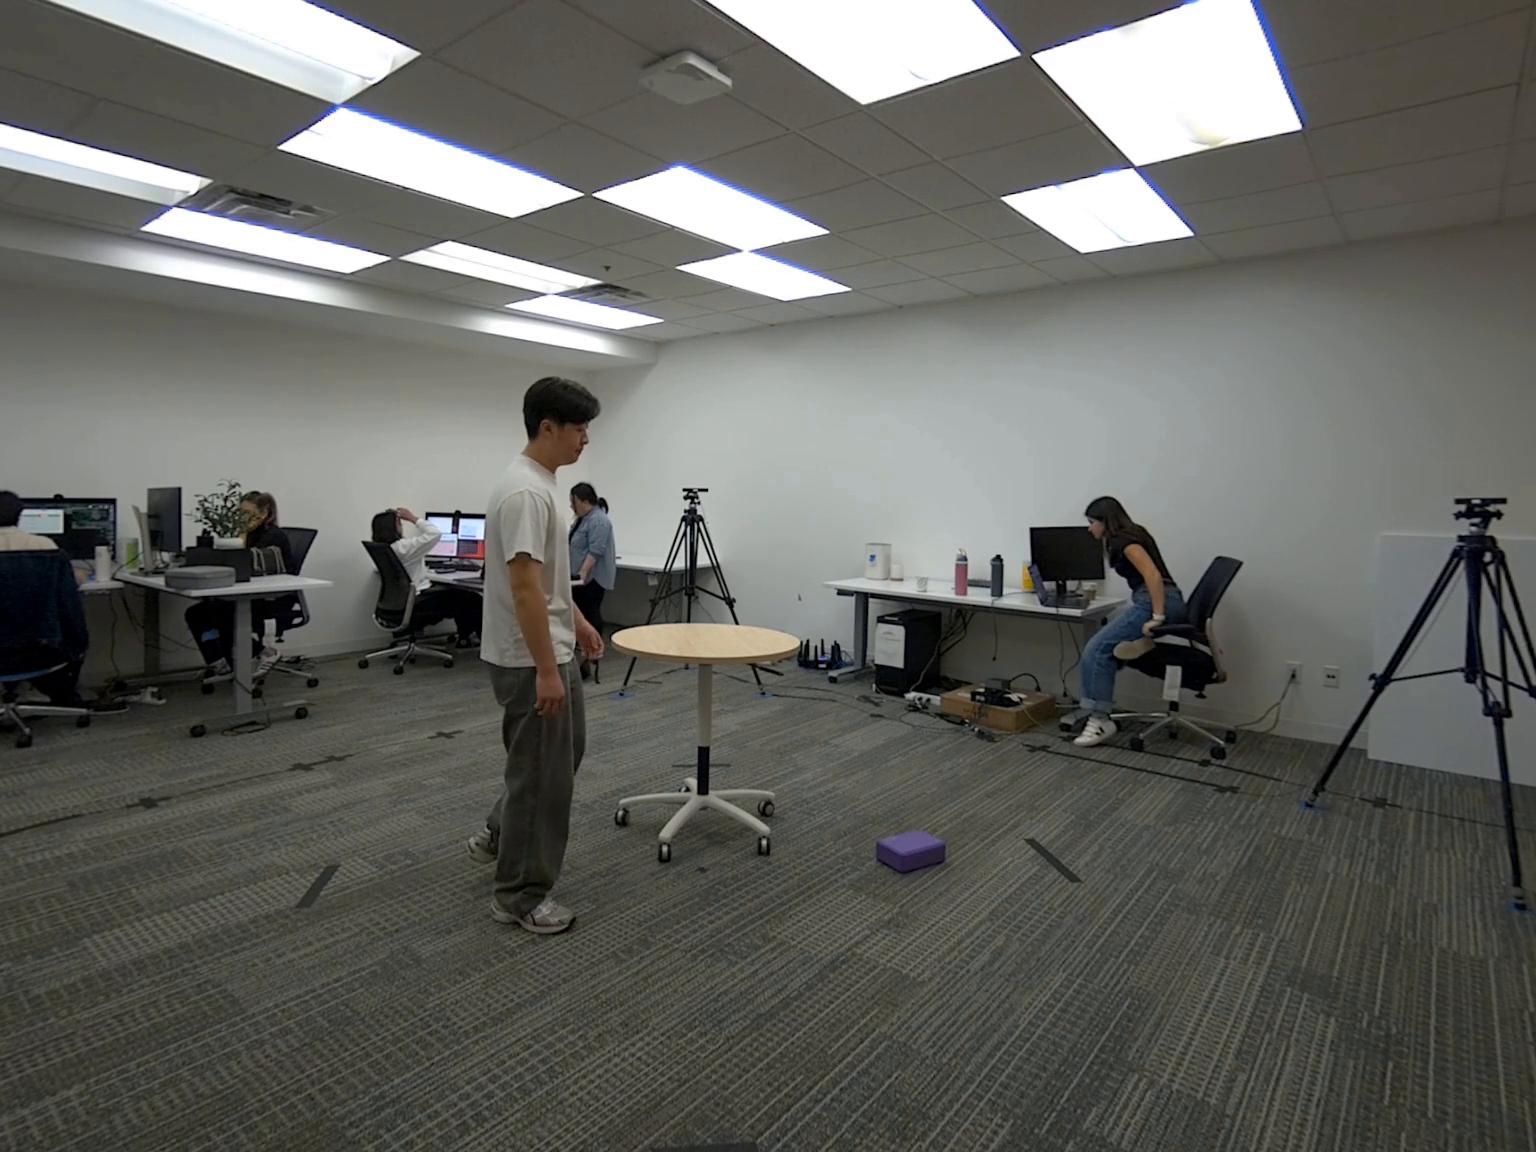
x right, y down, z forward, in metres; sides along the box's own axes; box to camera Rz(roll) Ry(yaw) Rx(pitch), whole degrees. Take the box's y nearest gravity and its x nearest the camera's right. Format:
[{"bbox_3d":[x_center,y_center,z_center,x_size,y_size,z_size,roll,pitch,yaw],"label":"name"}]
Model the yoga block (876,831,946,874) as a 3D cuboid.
[{"bbox_3d":[0.548,1.034,3.221,0.223,0.076,0.154,-2,6,-32],"label":"yoga block"}]
